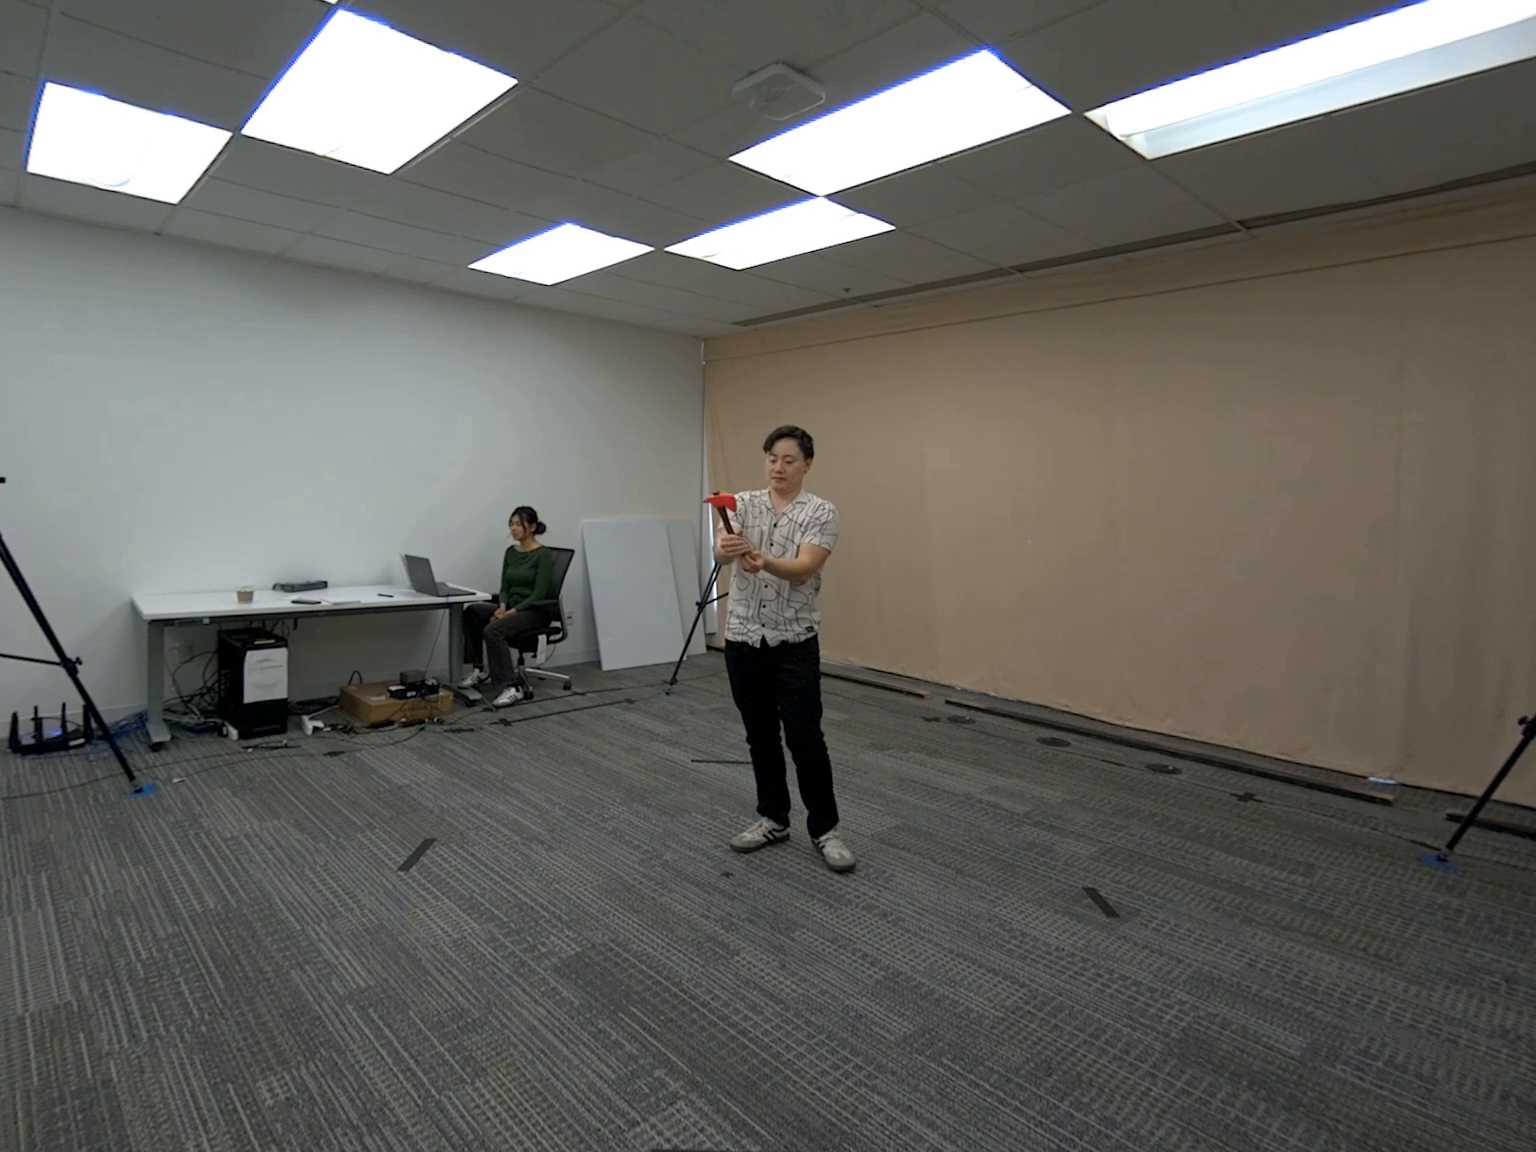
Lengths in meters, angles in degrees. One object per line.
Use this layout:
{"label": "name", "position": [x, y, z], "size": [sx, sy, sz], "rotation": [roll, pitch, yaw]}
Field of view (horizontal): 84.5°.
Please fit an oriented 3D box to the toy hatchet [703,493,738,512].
{"label": "toy hatchet", "position": [-0.105, -0.175, 2.824], "size": [0.132, 0.267, 0.029], "rotation": [-29, 12, 40]}
